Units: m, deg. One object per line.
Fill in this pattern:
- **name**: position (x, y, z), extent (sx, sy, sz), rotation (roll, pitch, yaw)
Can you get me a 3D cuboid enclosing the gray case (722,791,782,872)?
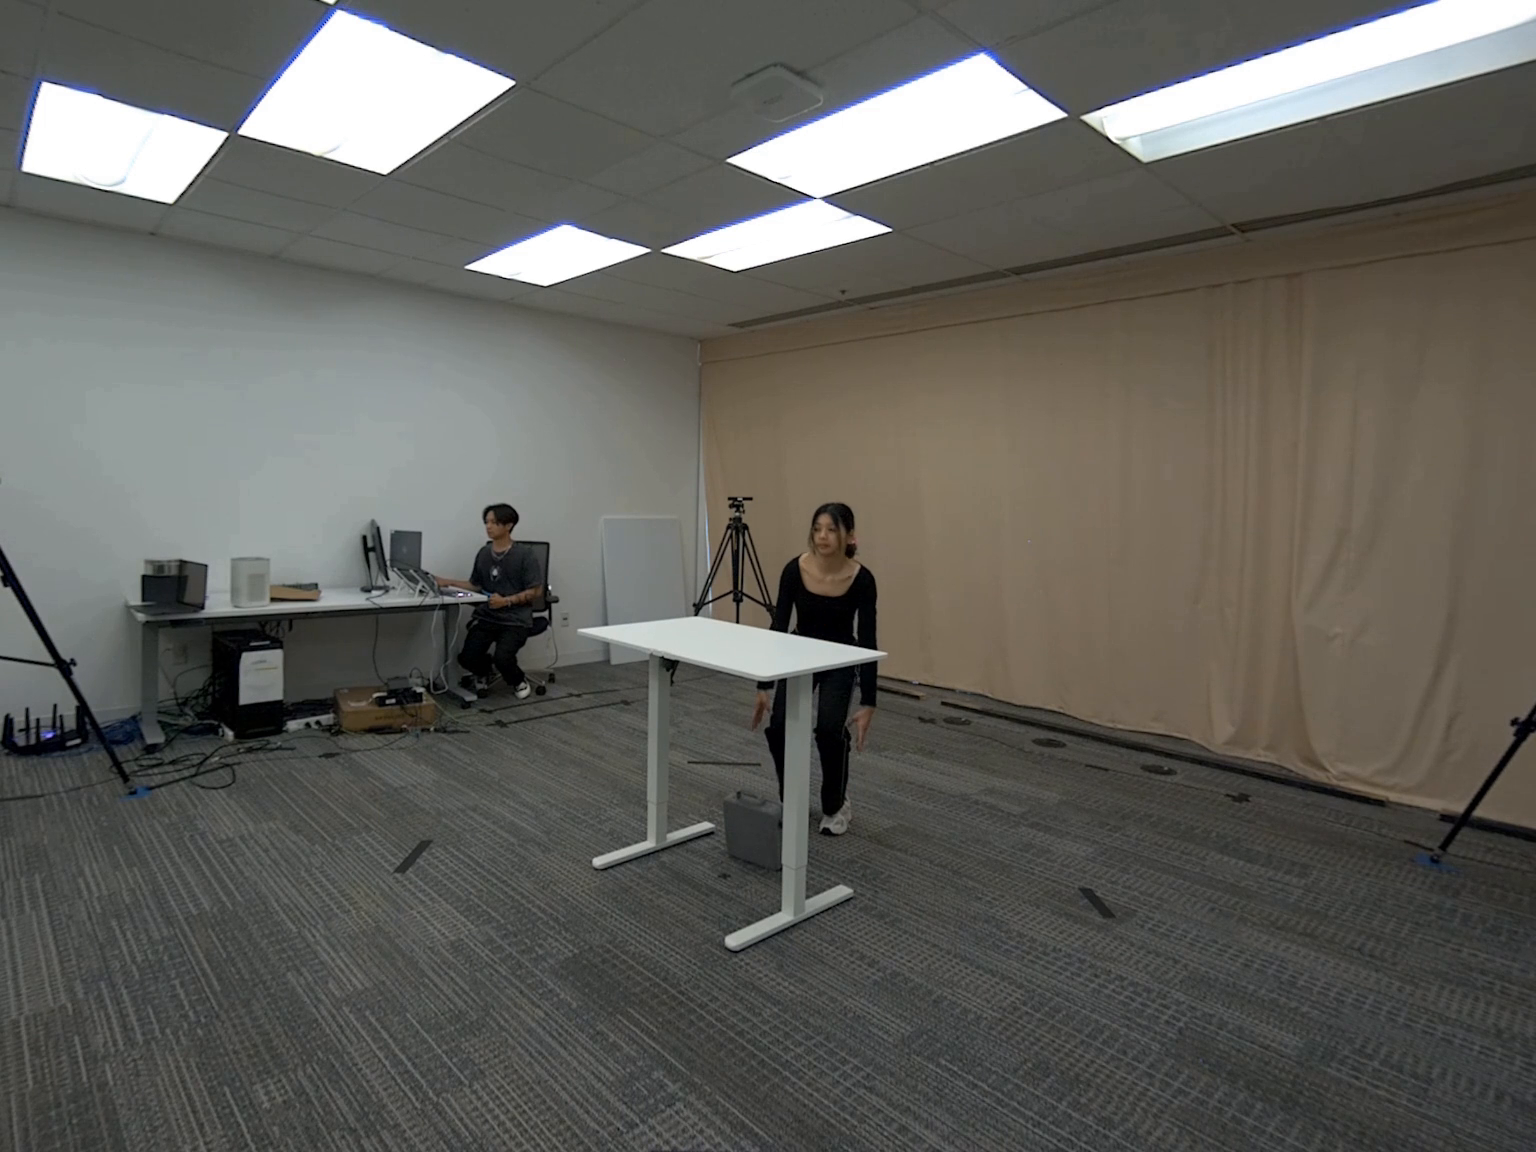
- **gray case**: position (-0.061, 0.966, 3.220), extent (0.263, 0.258, 0.103), rotation (6, 18, 40)
